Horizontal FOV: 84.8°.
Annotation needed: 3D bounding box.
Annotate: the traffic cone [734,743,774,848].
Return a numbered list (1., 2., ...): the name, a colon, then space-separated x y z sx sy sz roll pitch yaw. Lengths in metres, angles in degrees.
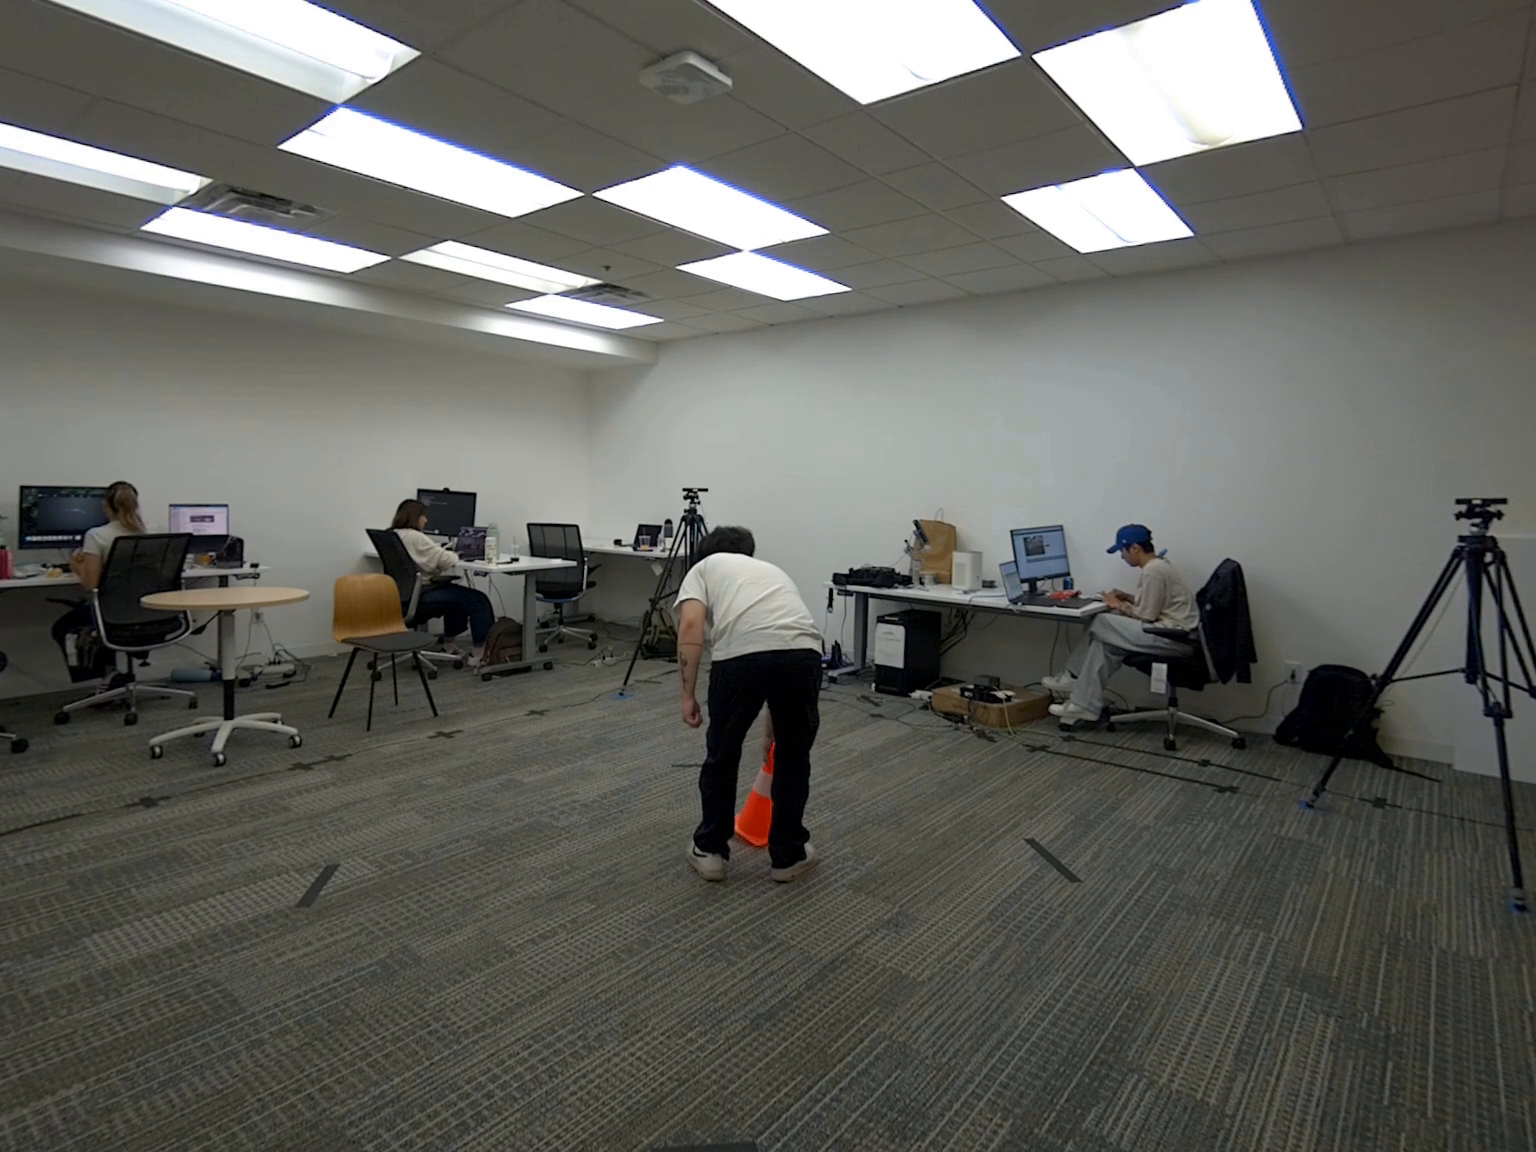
1. traffic cone: -0.022 0.829 3.380 0.199 0.379 0.212 -5 21 -46
